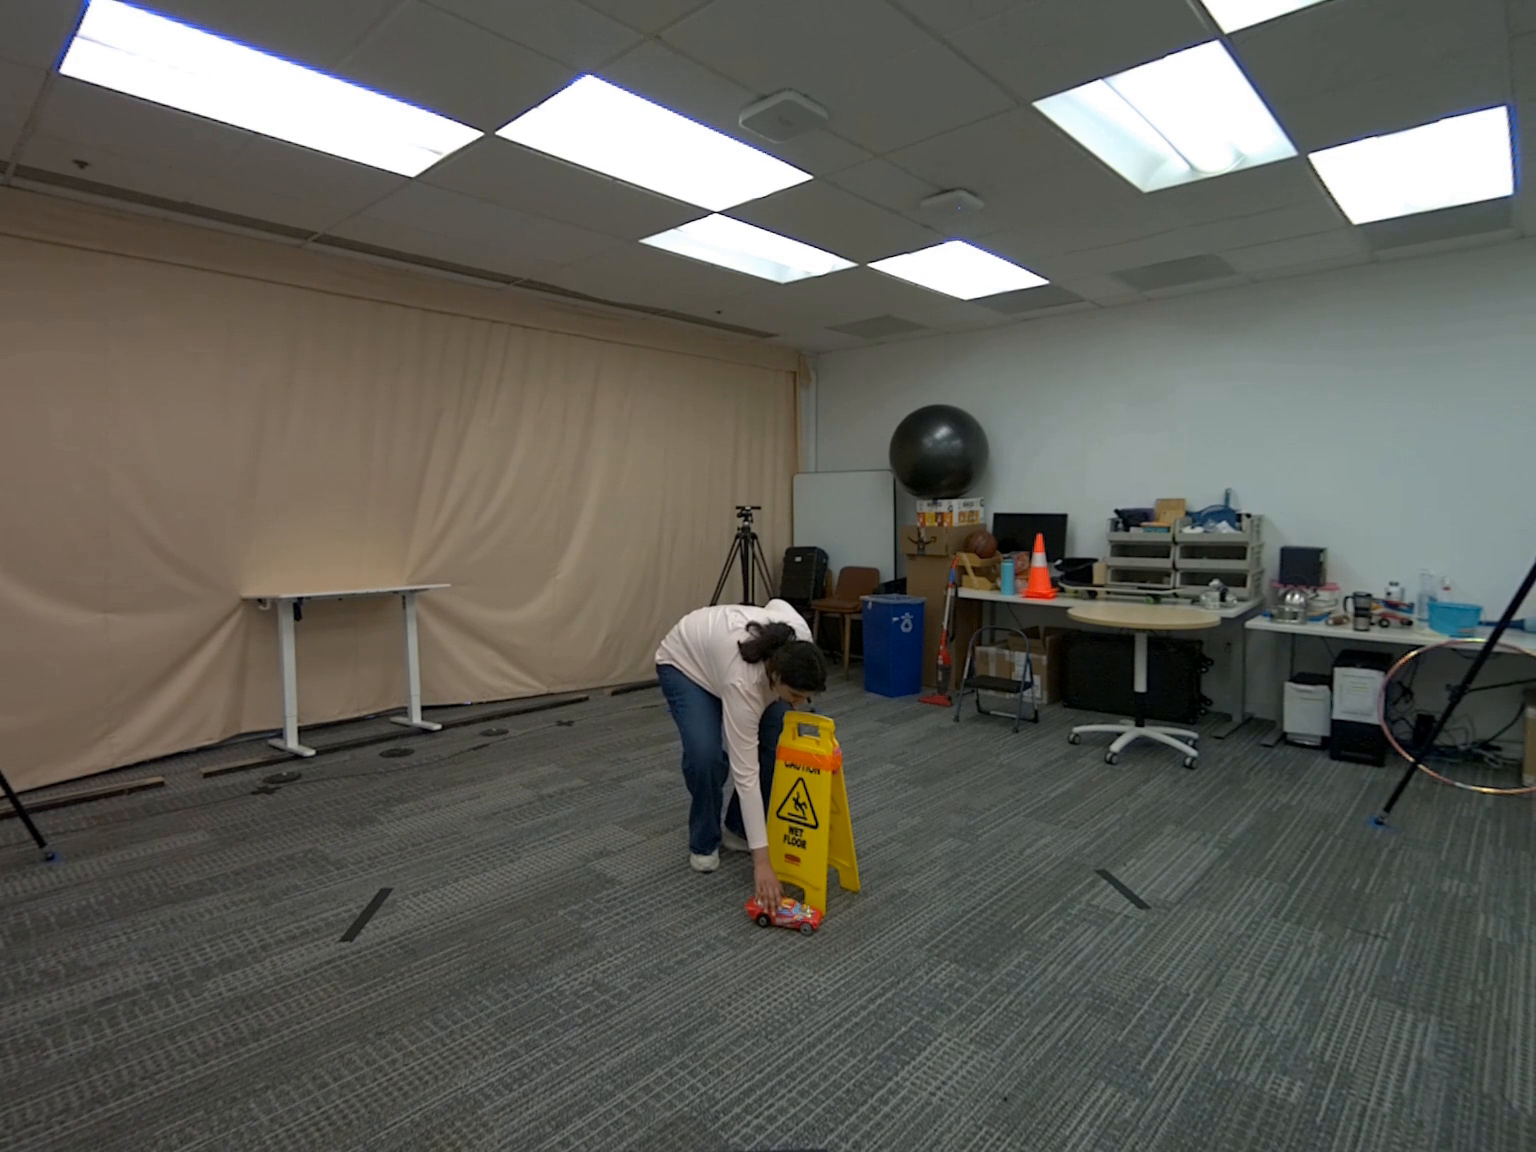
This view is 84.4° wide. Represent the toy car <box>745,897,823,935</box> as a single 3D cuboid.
[{"bbox_3d":[0.048,1.125,2.817,0.260,0.083,0.128,14,10,18],"label":"toy car"}]
